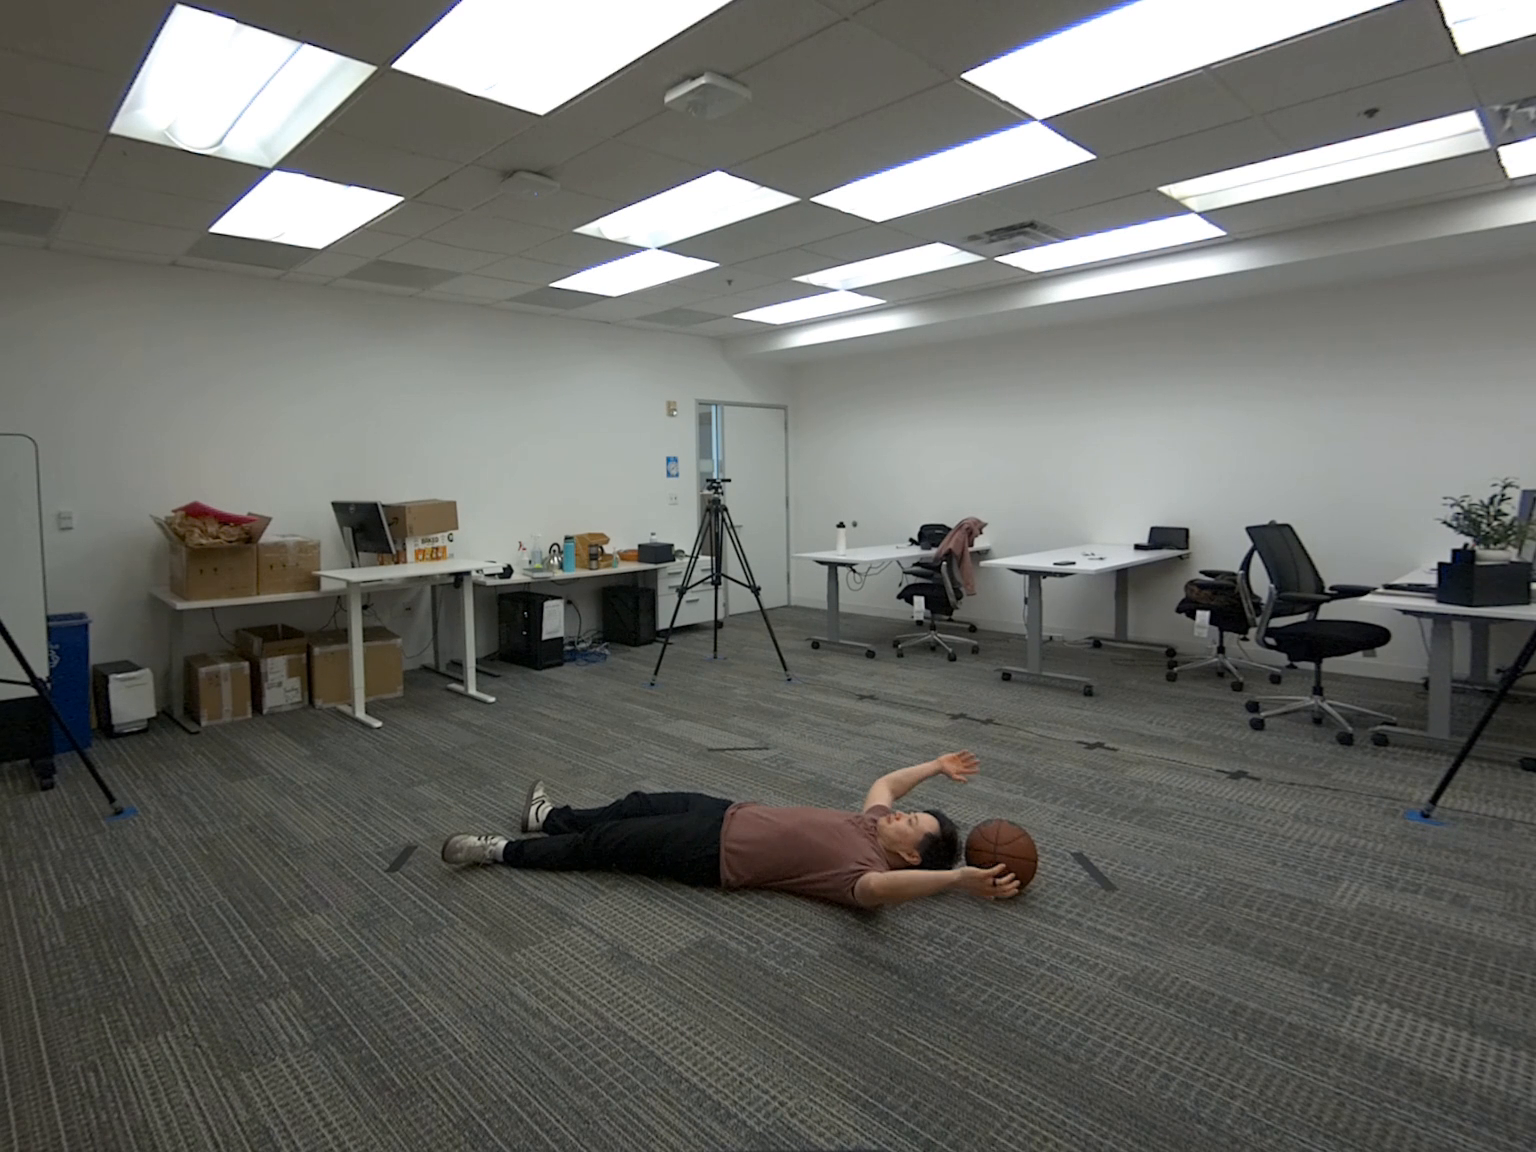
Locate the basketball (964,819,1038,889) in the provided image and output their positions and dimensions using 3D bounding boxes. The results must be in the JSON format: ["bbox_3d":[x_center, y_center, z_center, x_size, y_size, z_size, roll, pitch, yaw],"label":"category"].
[{"bbox_3d":[0.783,0.933,2.876,0.236,0.236,0.236,0,1,-2],"label":"basketball"}]
